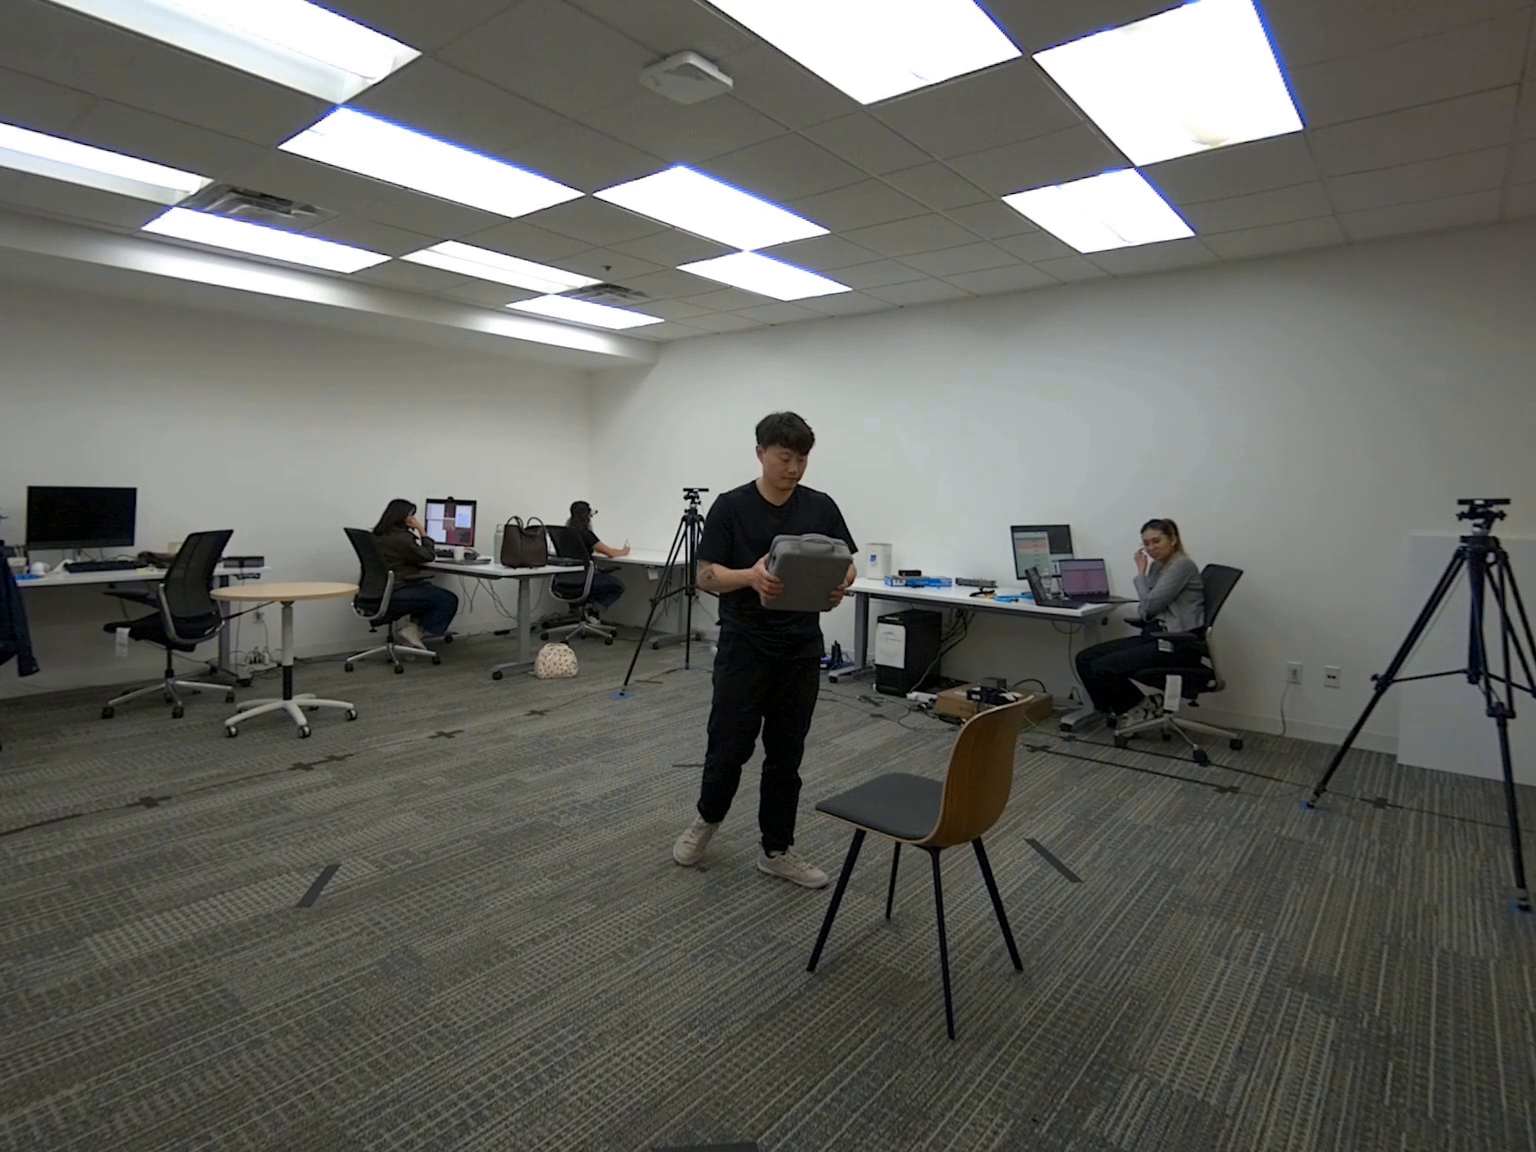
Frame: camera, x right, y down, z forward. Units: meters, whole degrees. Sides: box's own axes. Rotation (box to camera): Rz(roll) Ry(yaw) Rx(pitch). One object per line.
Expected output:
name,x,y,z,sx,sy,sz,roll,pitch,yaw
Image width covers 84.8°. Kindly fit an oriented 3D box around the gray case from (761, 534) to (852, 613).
gray case,0.105,-0.010,2.751,0.253,0.256,0.108,6,38,-13
